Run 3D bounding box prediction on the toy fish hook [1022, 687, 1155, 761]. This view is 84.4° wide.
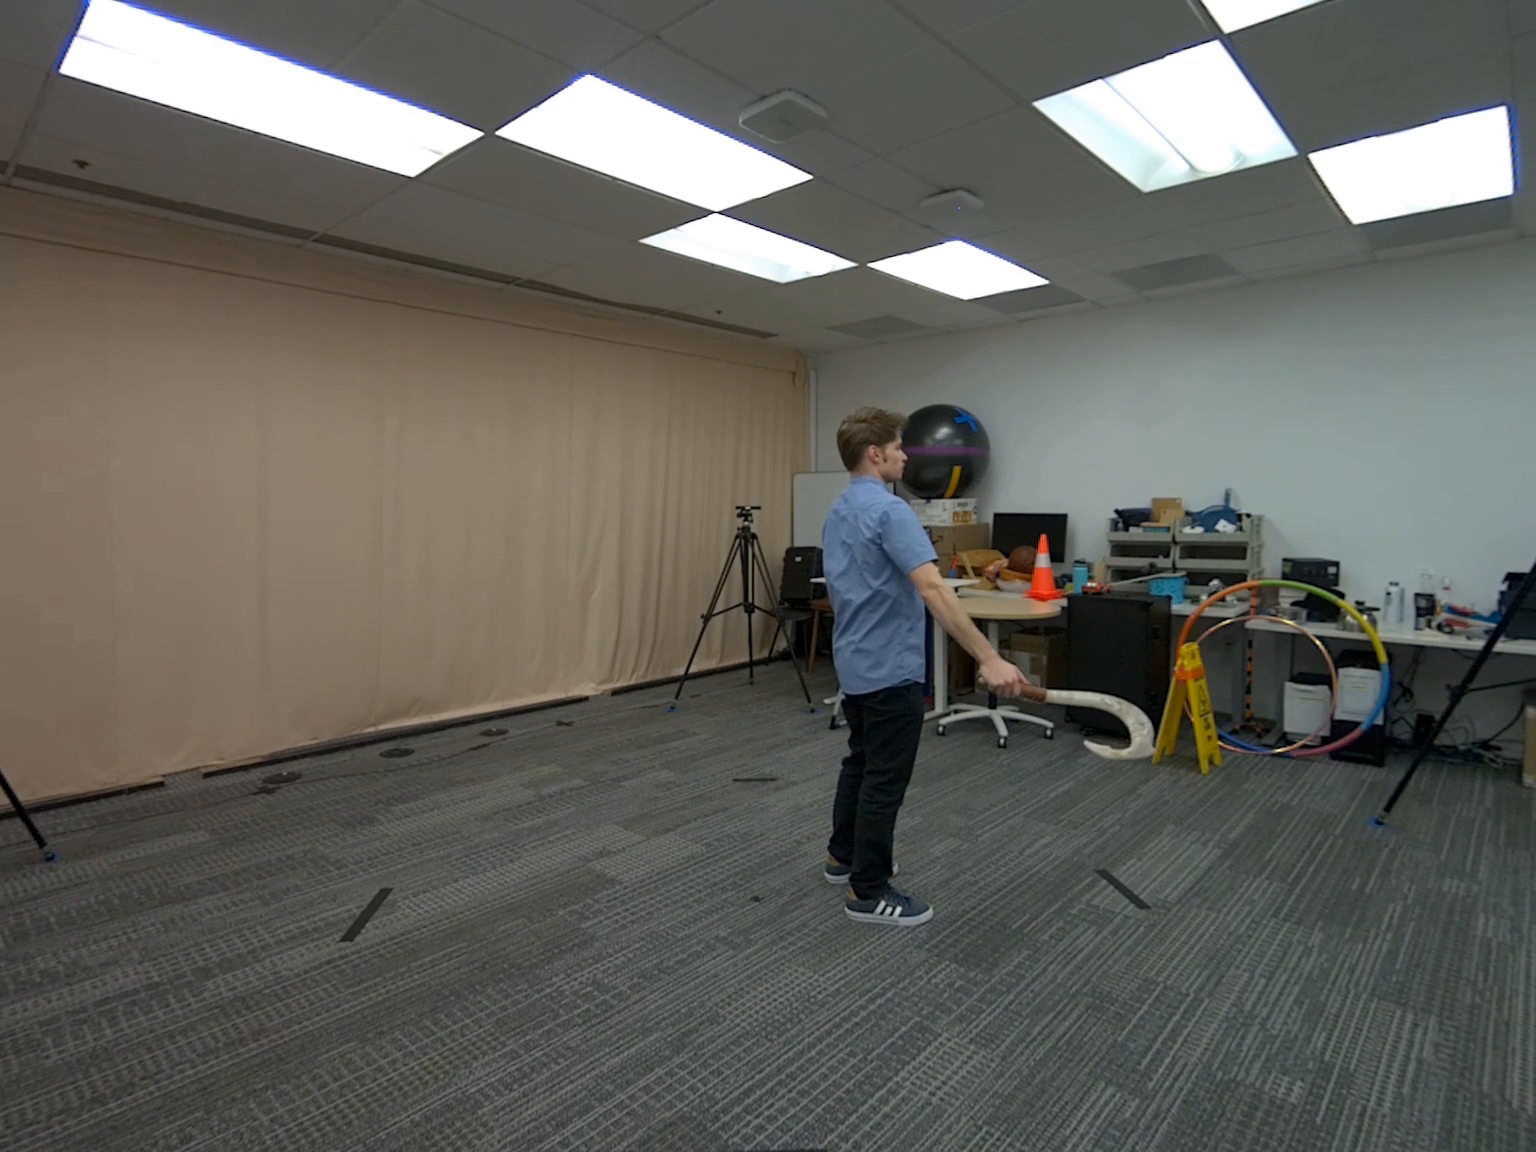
[{"bbox_3d":[0.865,0.392,2.434,0.512,0.047,0.225,14,40,9],"label":"toy fish hook"}]
